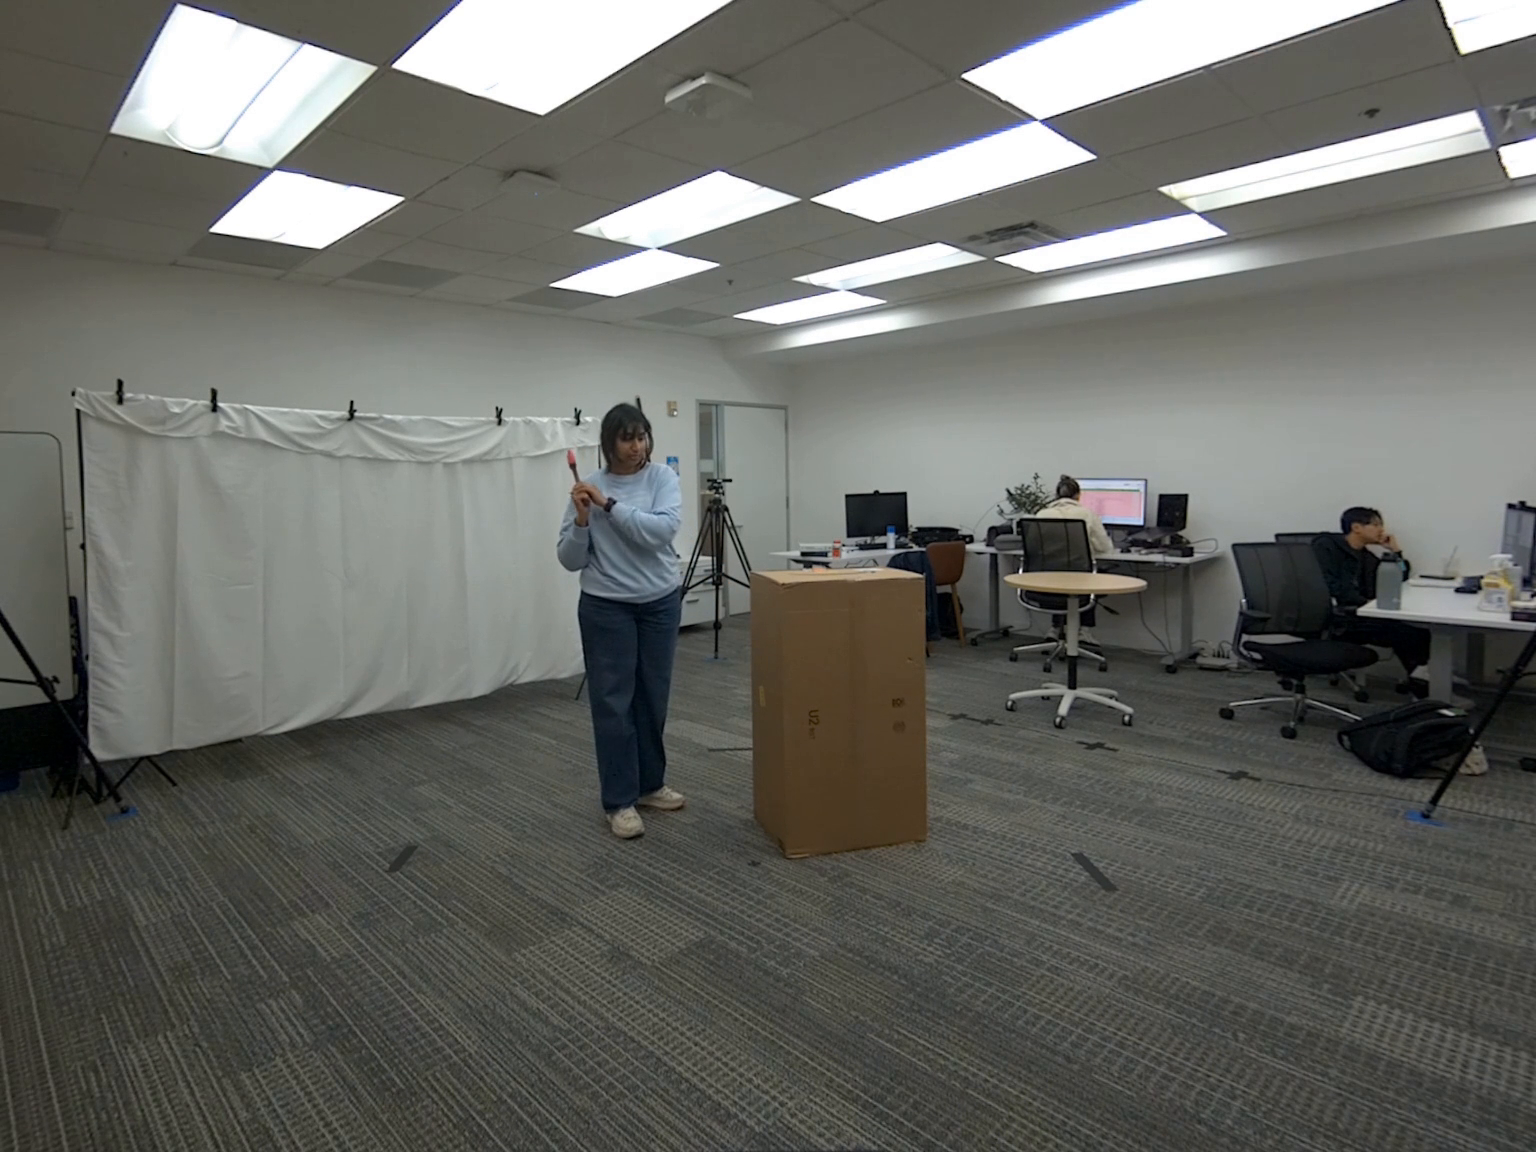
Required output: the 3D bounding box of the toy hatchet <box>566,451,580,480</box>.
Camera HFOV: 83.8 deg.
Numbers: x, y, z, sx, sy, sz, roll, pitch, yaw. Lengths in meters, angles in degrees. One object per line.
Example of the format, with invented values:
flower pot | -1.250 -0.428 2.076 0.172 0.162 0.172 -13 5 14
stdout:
toy hatchet | -0.745 -0.397 3.346 0.029 0.127 0.280 -14 44 -16
